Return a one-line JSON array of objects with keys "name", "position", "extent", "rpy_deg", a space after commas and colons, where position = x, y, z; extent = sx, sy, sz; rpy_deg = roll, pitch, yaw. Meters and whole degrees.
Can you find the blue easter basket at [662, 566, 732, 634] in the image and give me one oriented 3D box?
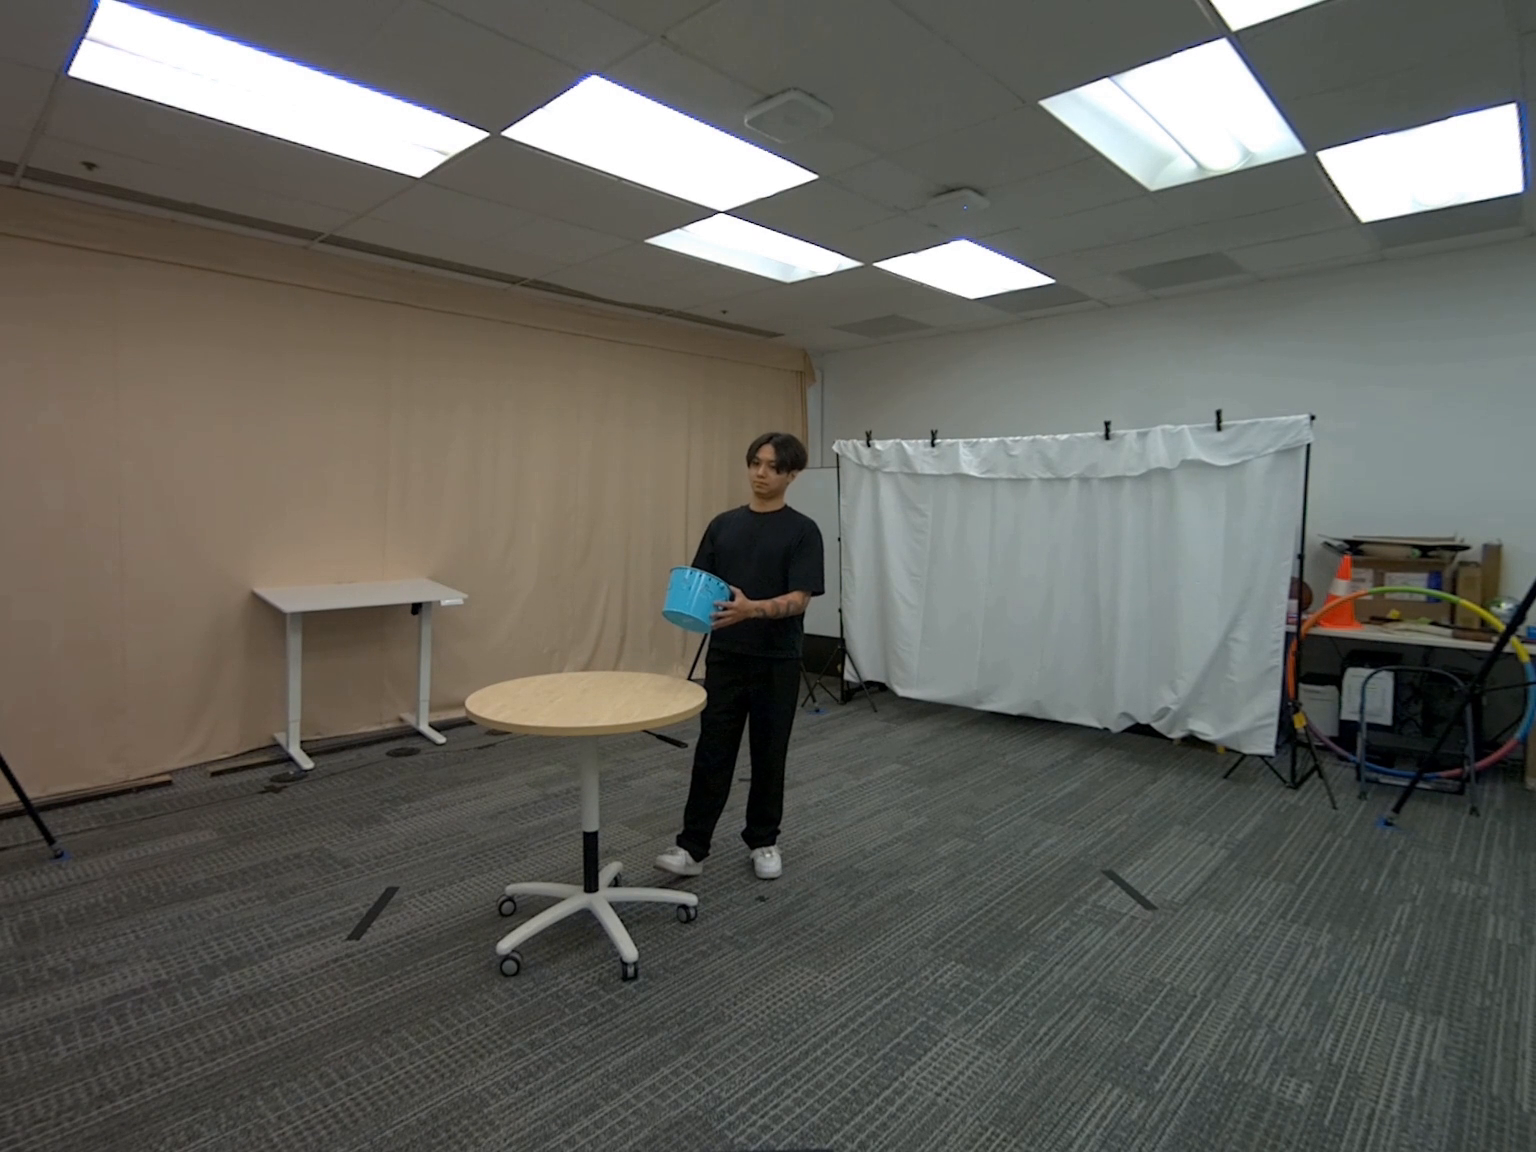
[{"name": "blue easter basket", "position": [-0.245, 0.089, 2.902], "extent": [0.245, 0.156, 0.241], "rpy_deg": [18, -20, 5]}]
